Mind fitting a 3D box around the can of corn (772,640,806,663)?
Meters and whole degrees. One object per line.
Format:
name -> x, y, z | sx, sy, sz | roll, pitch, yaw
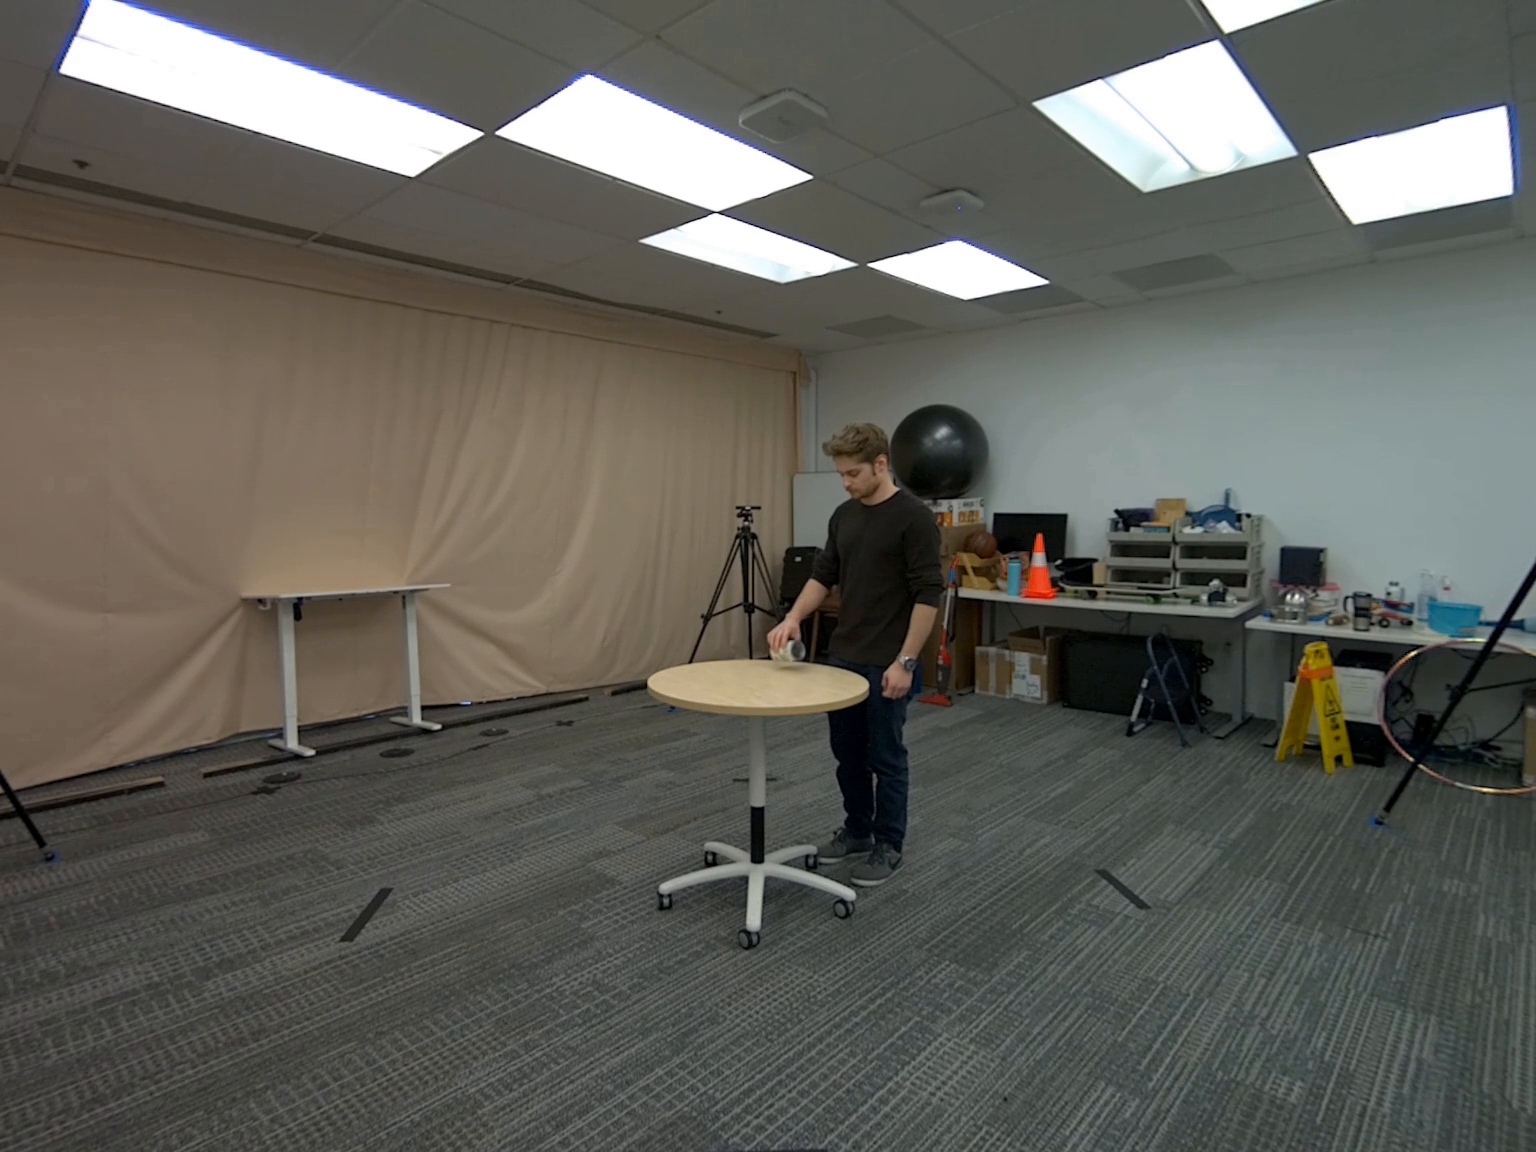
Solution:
can of corn -> 0.084, 0.280, 3.122 | 0.072, 0.074, 0.114 | -2, -6, -34
